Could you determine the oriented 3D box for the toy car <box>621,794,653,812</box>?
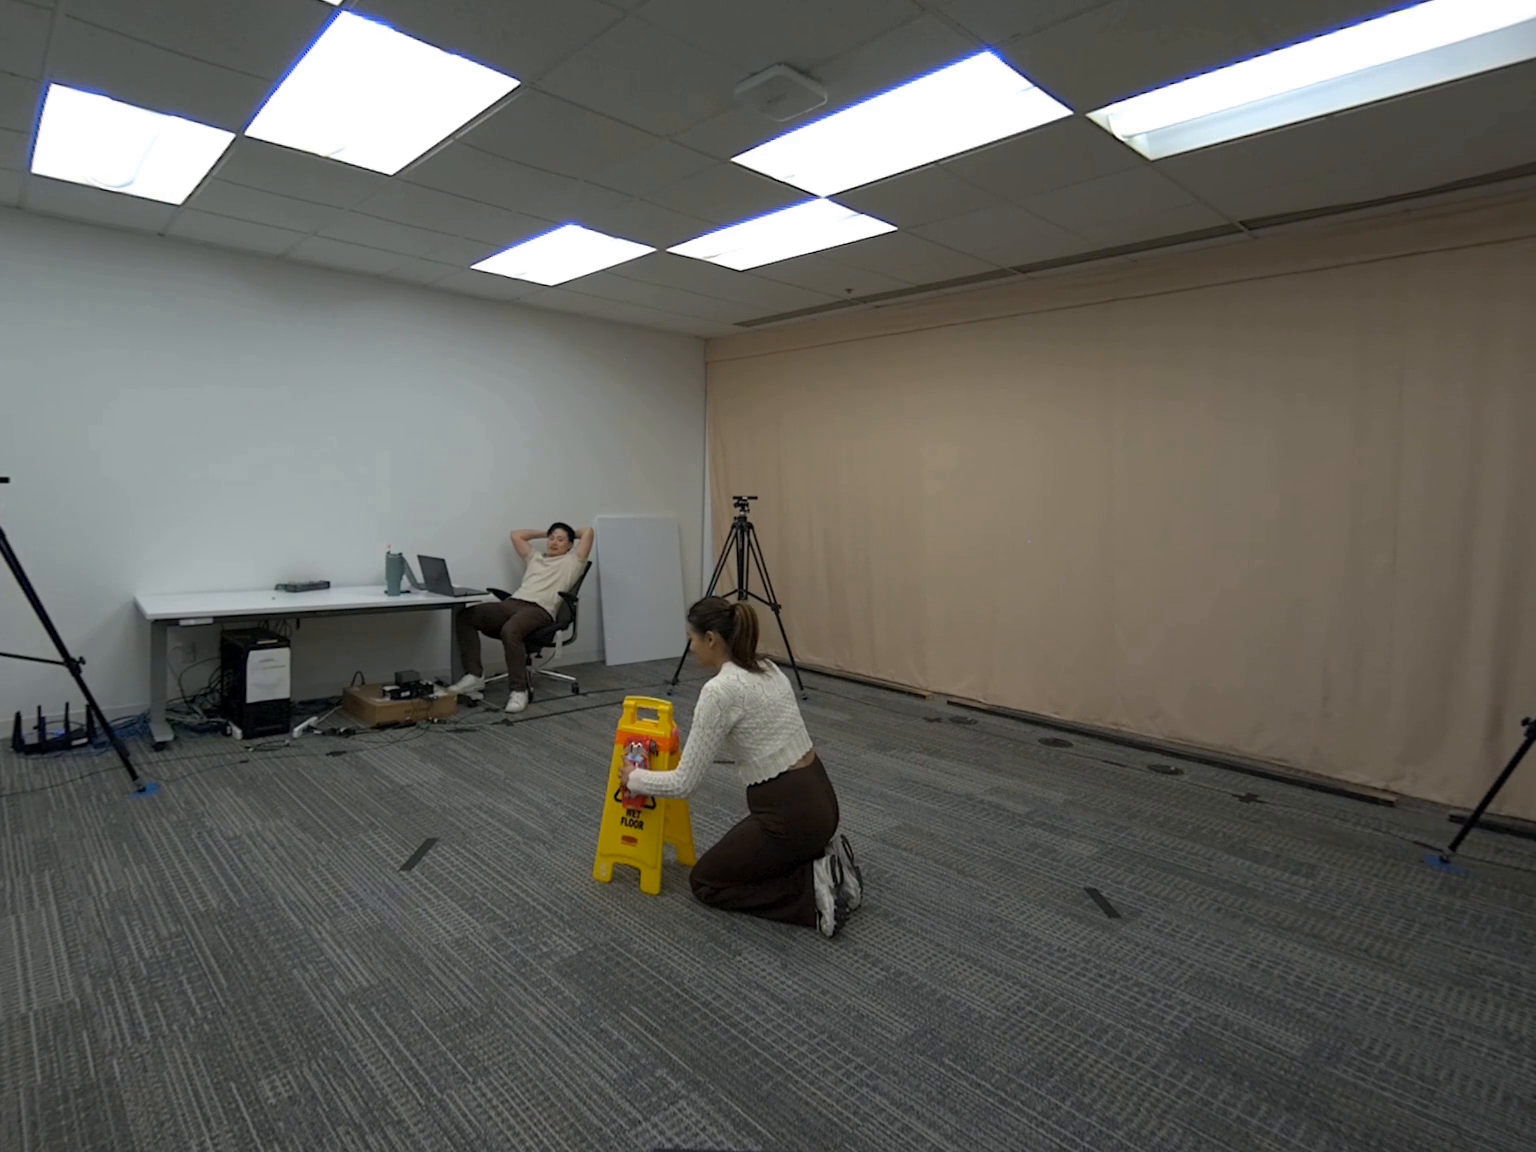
[{"bbox_3d":[-0.457,0.708,2.995,0.133,0.258,0.081,-3,-23,27],"label":"toy car"}]
